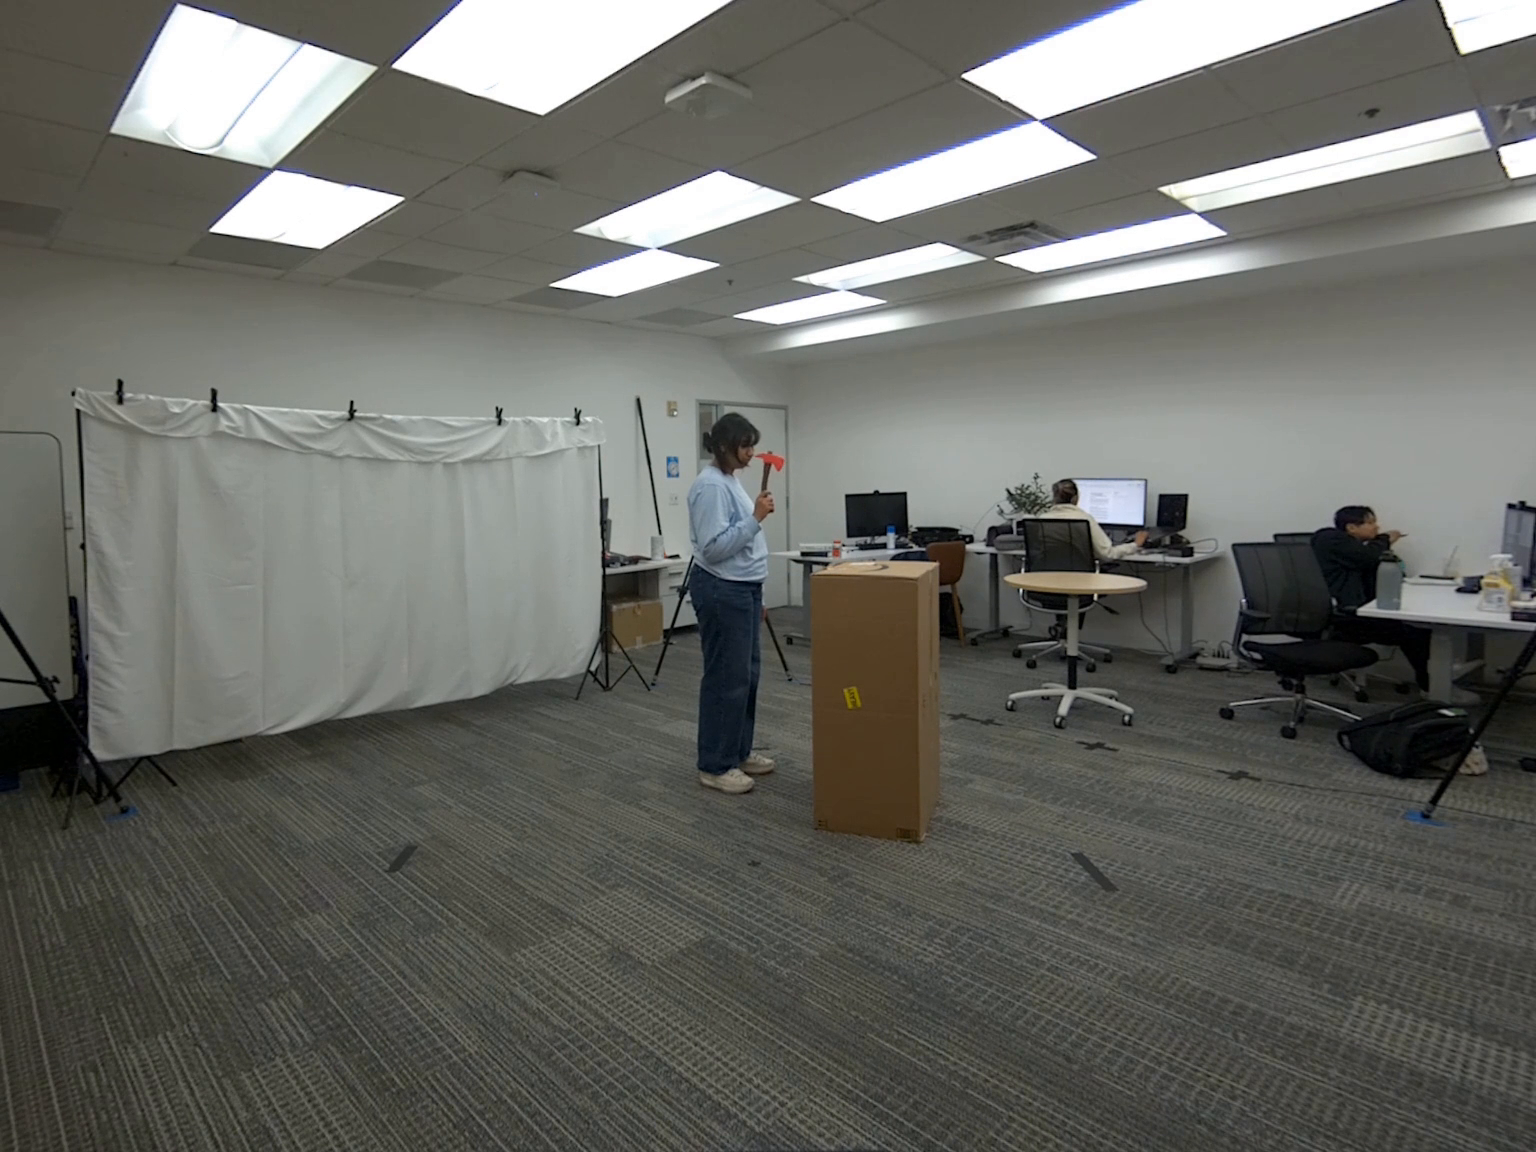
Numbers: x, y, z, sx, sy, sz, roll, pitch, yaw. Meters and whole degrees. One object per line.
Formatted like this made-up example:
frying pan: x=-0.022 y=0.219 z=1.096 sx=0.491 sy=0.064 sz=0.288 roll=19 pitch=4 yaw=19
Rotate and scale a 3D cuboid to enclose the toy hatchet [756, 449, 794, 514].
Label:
toy hatchet: x=0.027 y=-0.411 z=3.742 sx=0.132 sy=0.271 sz=0.029 roll=-6 pitch=-3 yaw=9
